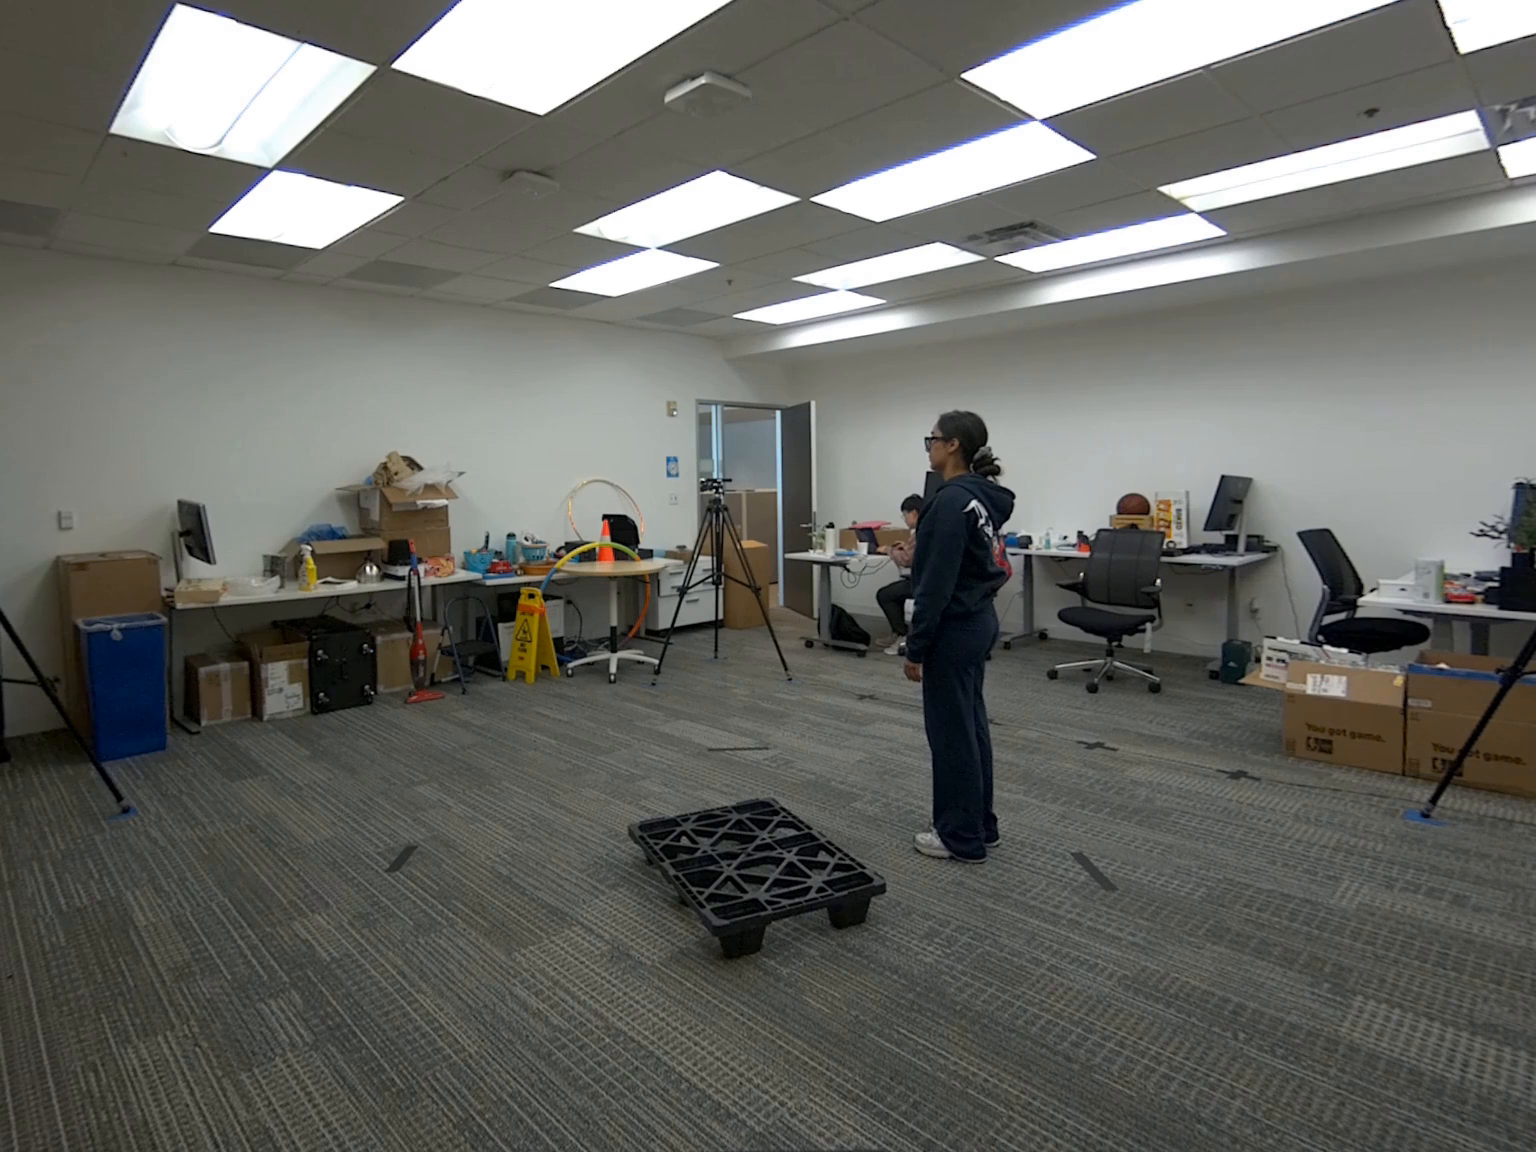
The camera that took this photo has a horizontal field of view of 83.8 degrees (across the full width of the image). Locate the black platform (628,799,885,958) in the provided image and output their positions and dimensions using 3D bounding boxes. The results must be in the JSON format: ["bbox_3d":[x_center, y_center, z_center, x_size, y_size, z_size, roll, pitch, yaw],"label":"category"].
[{"bbox_3d":[-0.070,1.000,2.907,0.593,0.142,0.826,-5,7,-26],"label":"black platform"}]
